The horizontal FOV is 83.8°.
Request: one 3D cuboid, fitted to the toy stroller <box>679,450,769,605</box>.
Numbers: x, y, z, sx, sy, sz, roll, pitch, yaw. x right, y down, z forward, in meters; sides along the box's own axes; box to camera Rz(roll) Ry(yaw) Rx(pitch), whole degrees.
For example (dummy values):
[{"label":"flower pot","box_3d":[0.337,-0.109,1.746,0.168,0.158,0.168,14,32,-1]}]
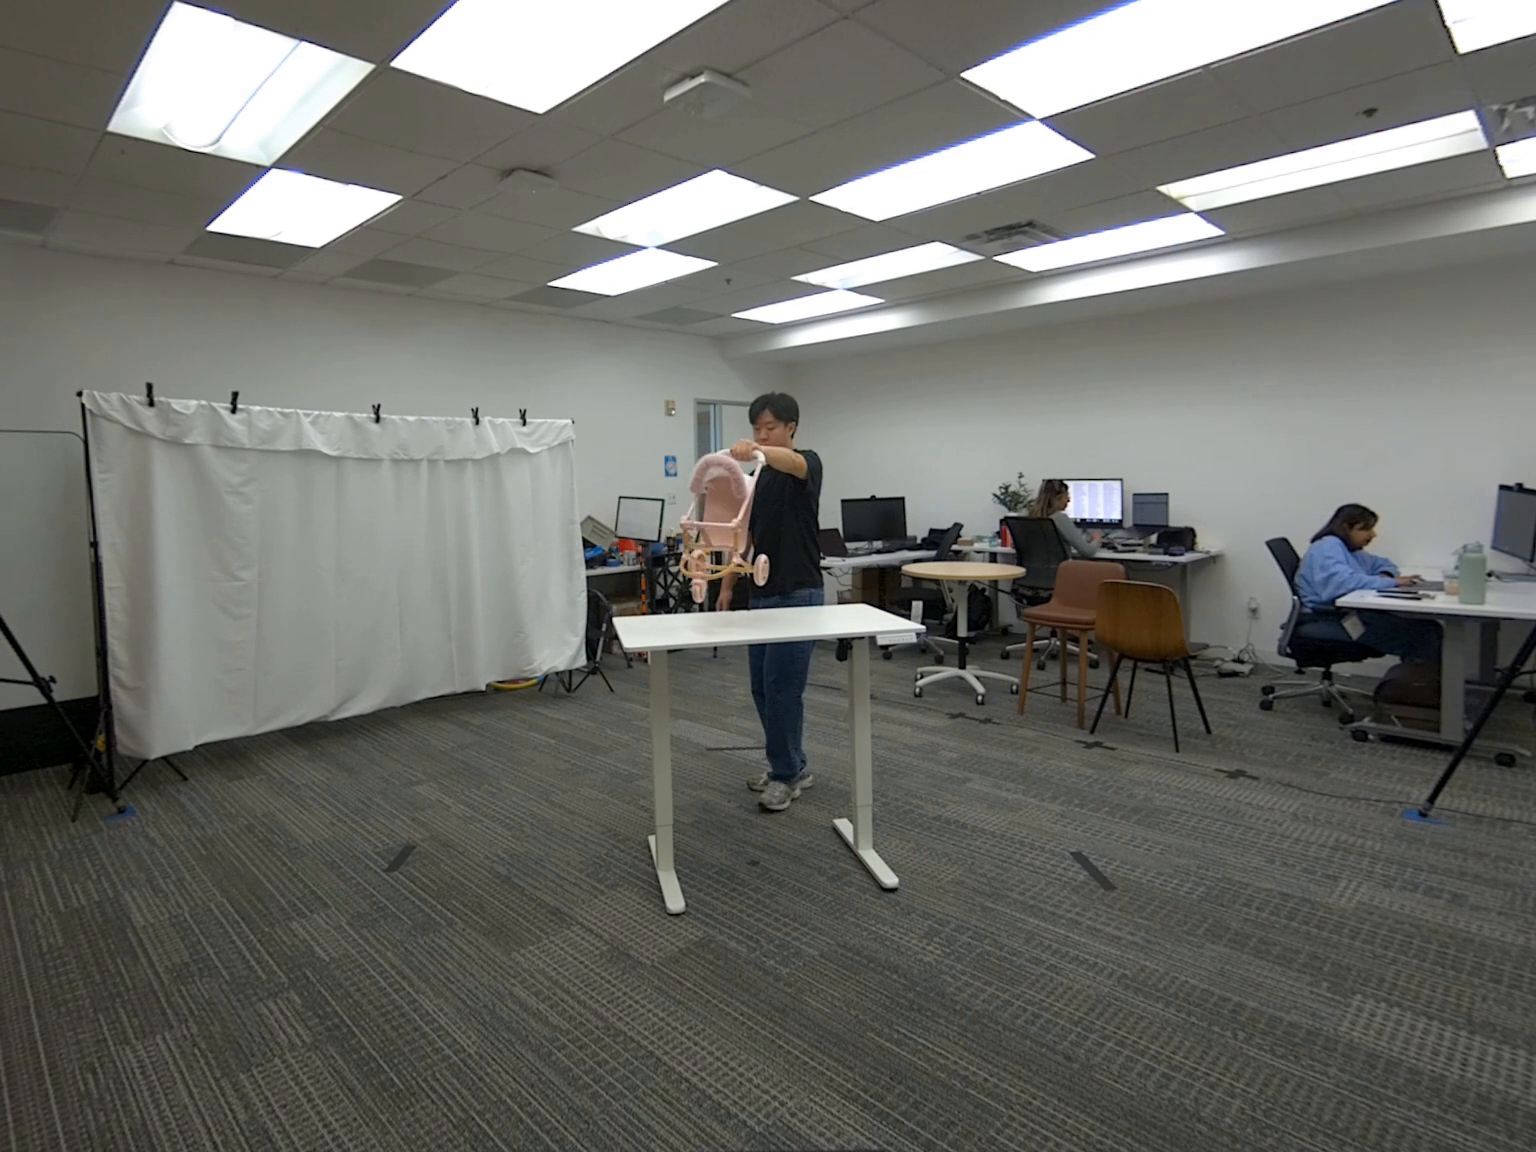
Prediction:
[{"label":"toy stroller","box_3d":[-0.168,-0.182,2.958,0.288,0.534,0.333,4,2,26]}]
